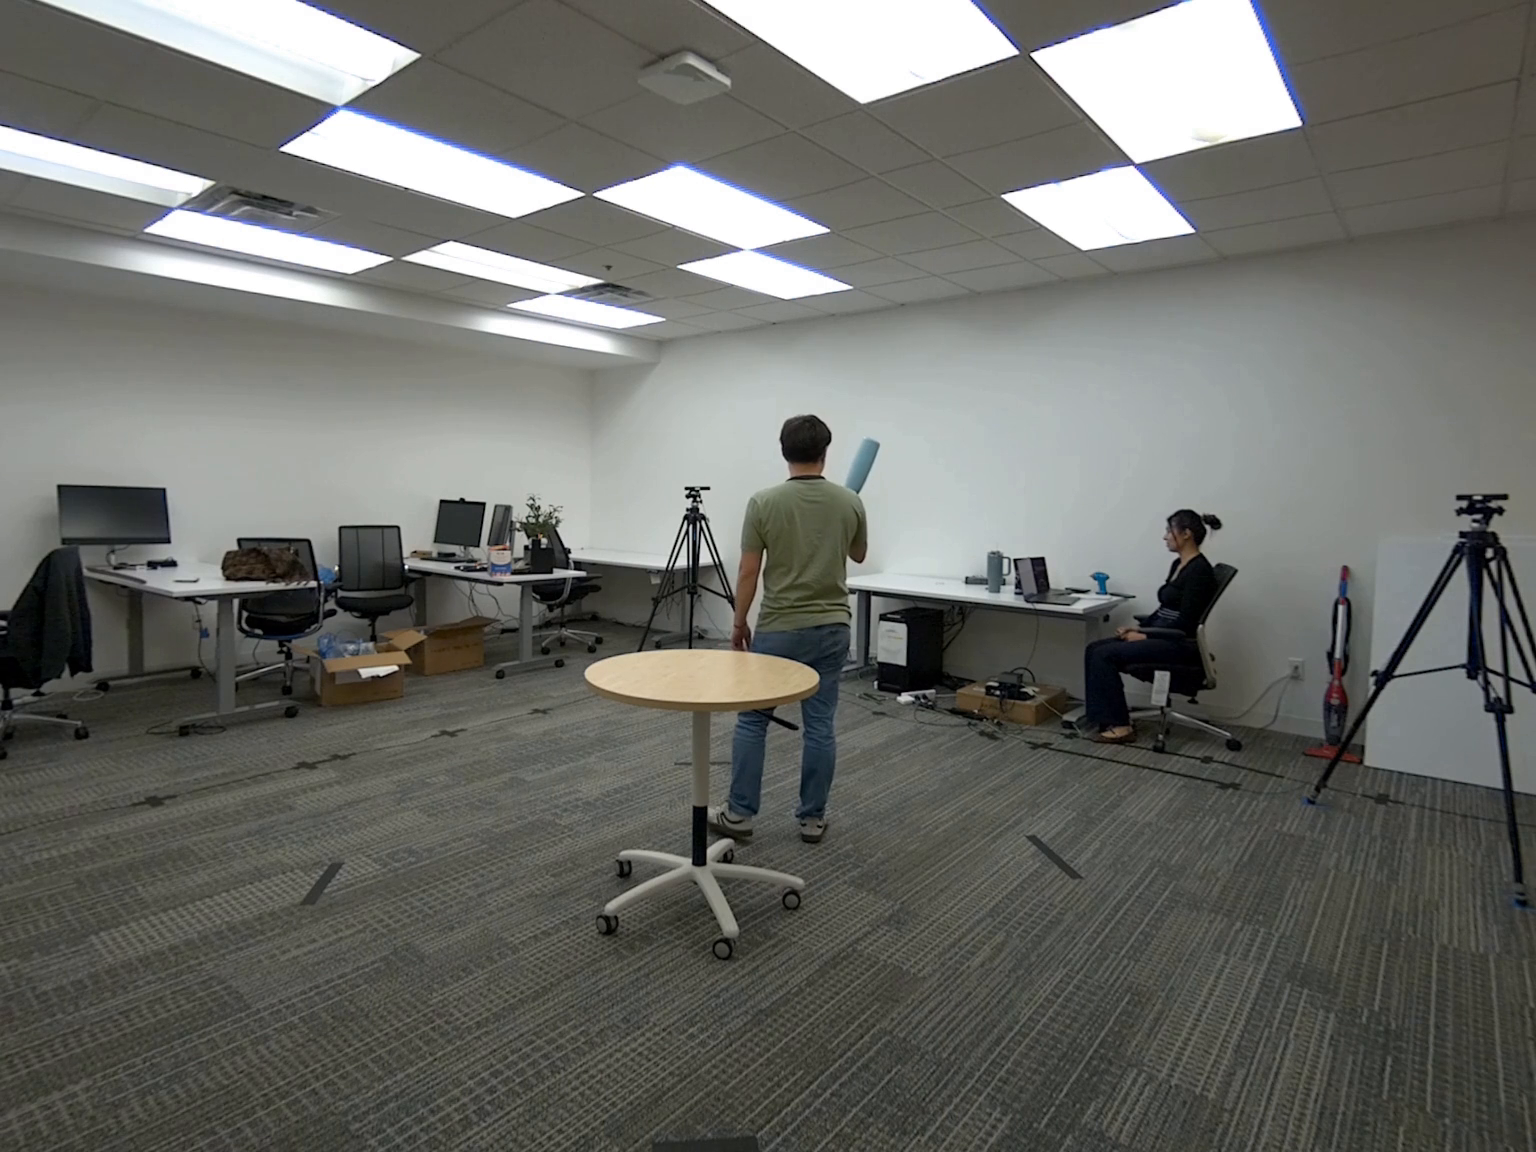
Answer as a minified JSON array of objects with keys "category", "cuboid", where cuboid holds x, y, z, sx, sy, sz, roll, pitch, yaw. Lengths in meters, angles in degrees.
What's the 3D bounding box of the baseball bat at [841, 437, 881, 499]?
[{"category":"baseball bat","cuboid":[0.364,-0.358,3.825,0.089,0.542,0.089,20,3,-3]}]
